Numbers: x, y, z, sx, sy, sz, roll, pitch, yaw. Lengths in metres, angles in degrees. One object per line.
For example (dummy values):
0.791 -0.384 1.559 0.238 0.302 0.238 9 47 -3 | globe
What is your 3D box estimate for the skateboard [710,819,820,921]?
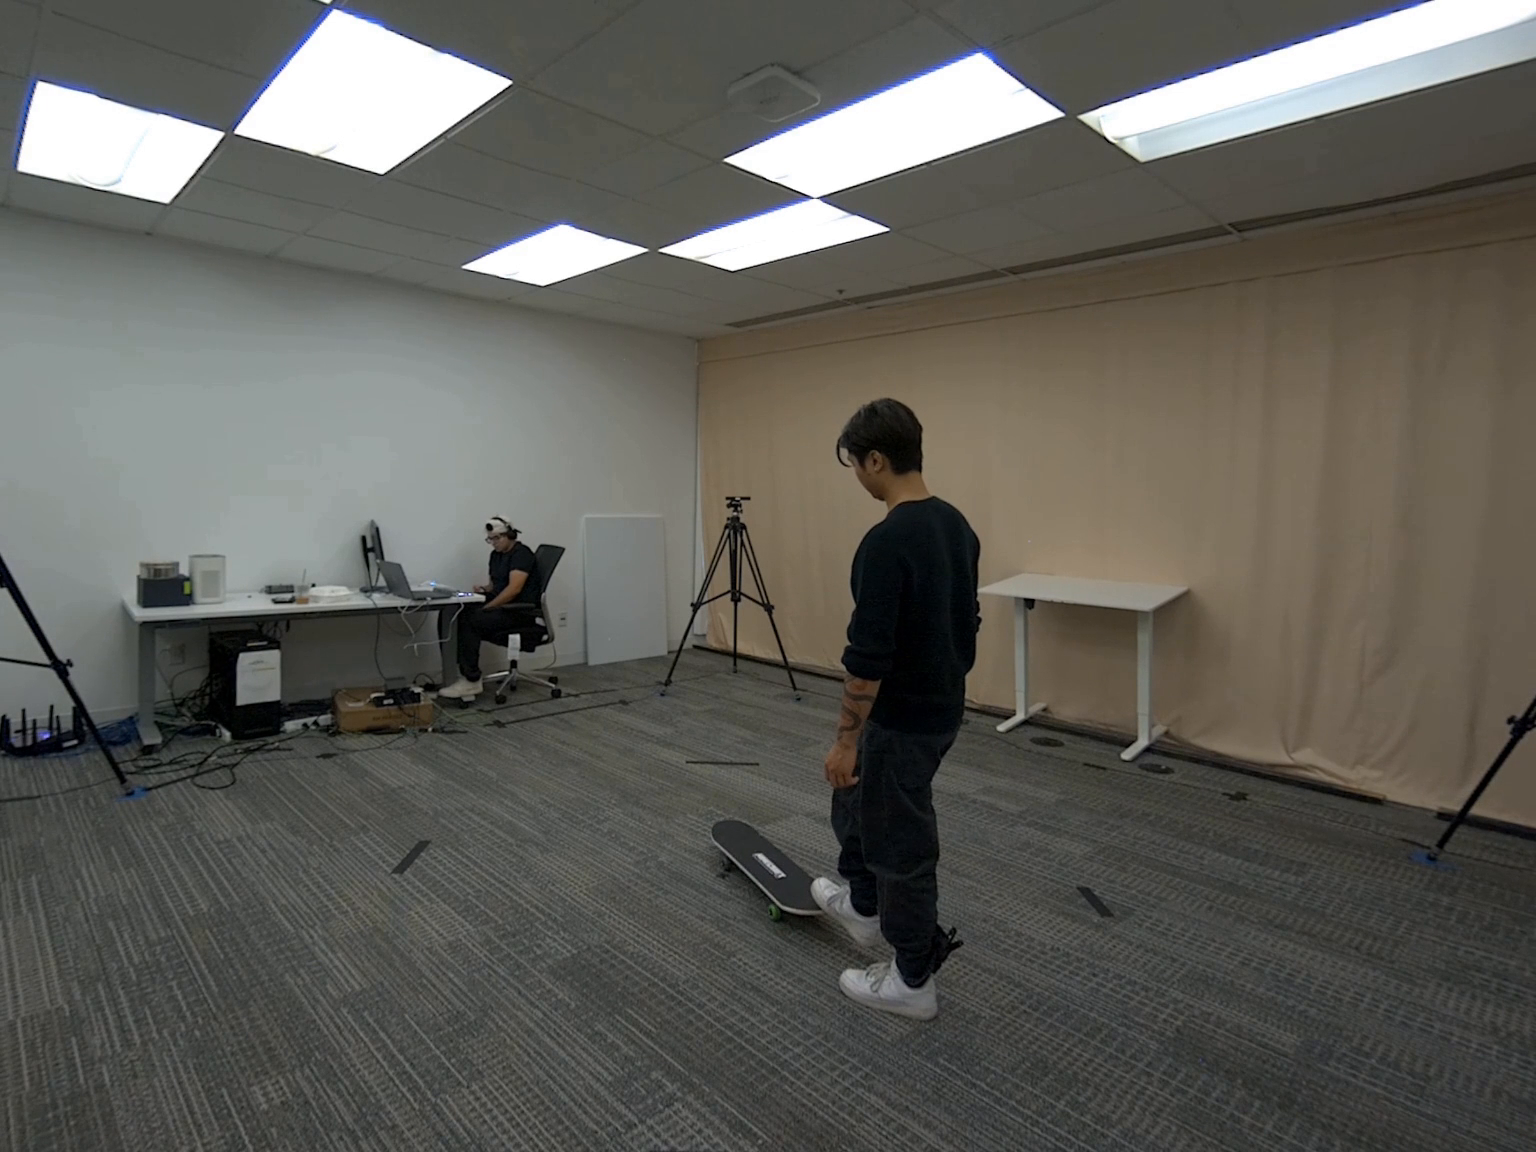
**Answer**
-0.010 1.066 2.999 0.190 0.110 0.802 -1 6 -25 | skateboard
